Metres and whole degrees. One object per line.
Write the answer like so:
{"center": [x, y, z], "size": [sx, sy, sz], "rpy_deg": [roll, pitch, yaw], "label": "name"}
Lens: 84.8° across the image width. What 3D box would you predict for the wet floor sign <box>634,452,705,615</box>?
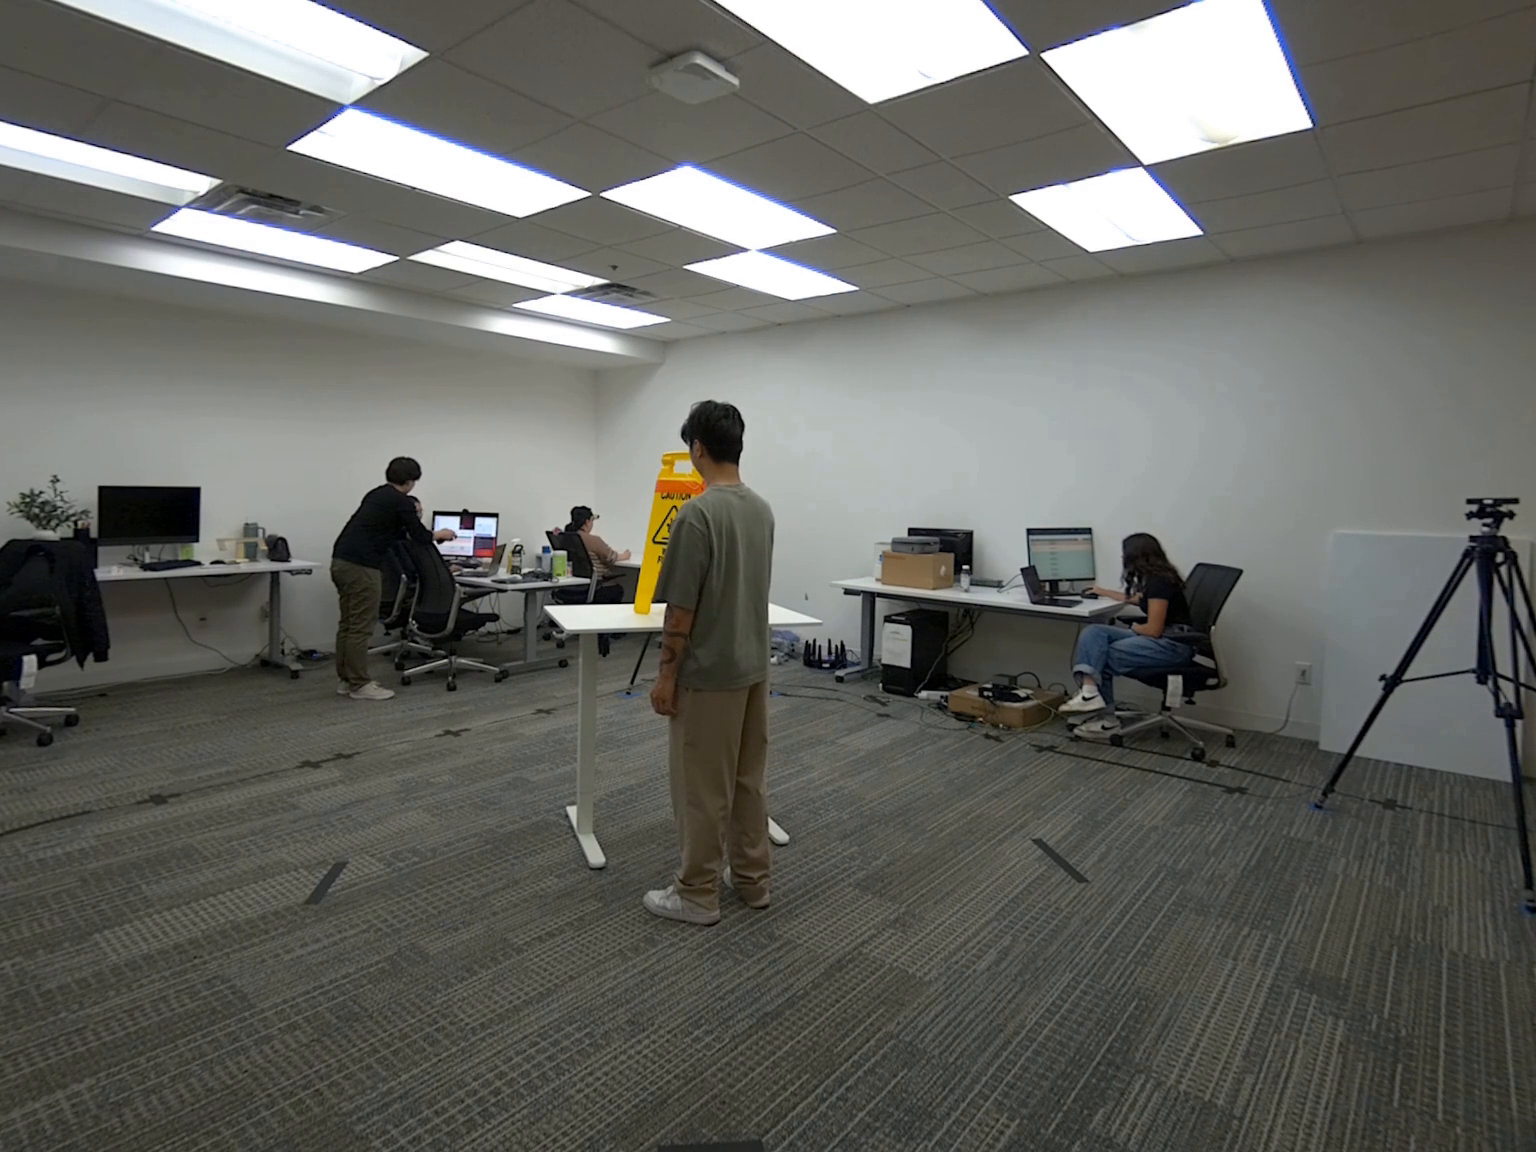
{"center": [-0.364, -0.178, 3.444], "size": [0.291, 0.644, 0.282], "rpy_deg": [5, 4, 31], "label": "wet floor sign"}
